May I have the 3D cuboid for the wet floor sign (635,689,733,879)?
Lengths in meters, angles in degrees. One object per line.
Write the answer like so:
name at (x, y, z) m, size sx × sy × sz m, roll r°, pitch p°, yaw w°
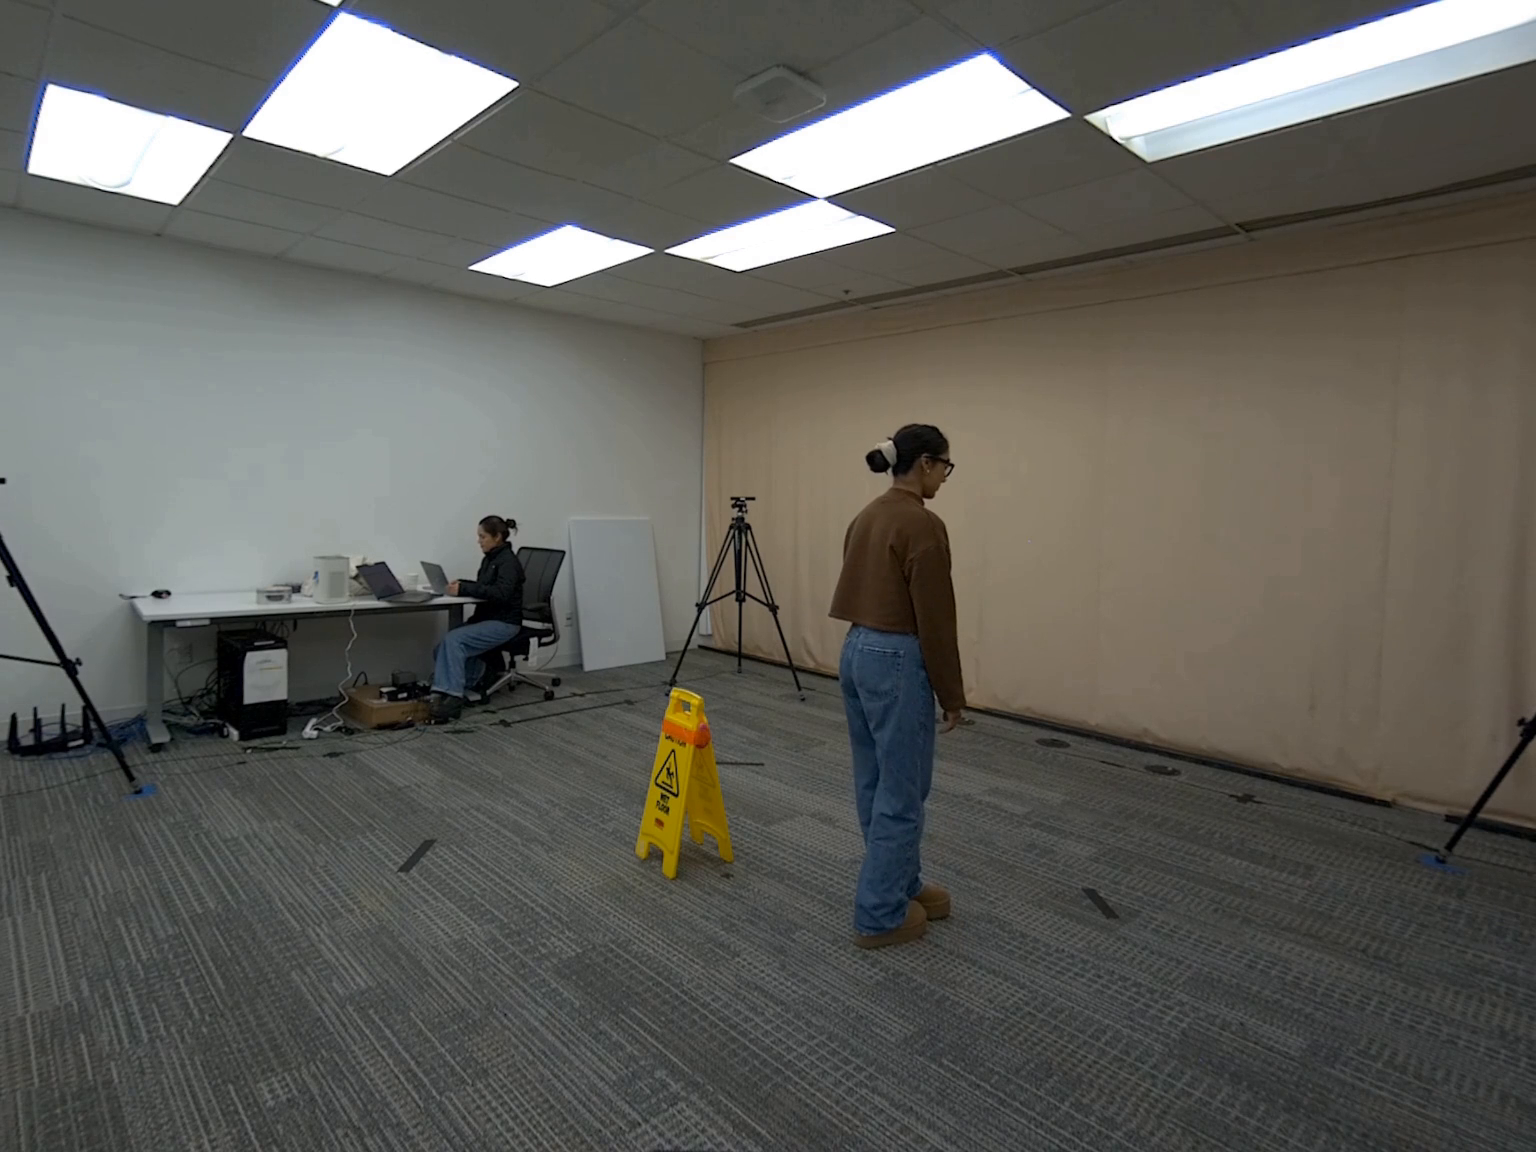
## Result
wet floor sign at (-0.321, 0.767, 3.237) m, size 0.283 × 0.645 × 0.289 m, roll -1°, pitch 4°, yaw -38°
